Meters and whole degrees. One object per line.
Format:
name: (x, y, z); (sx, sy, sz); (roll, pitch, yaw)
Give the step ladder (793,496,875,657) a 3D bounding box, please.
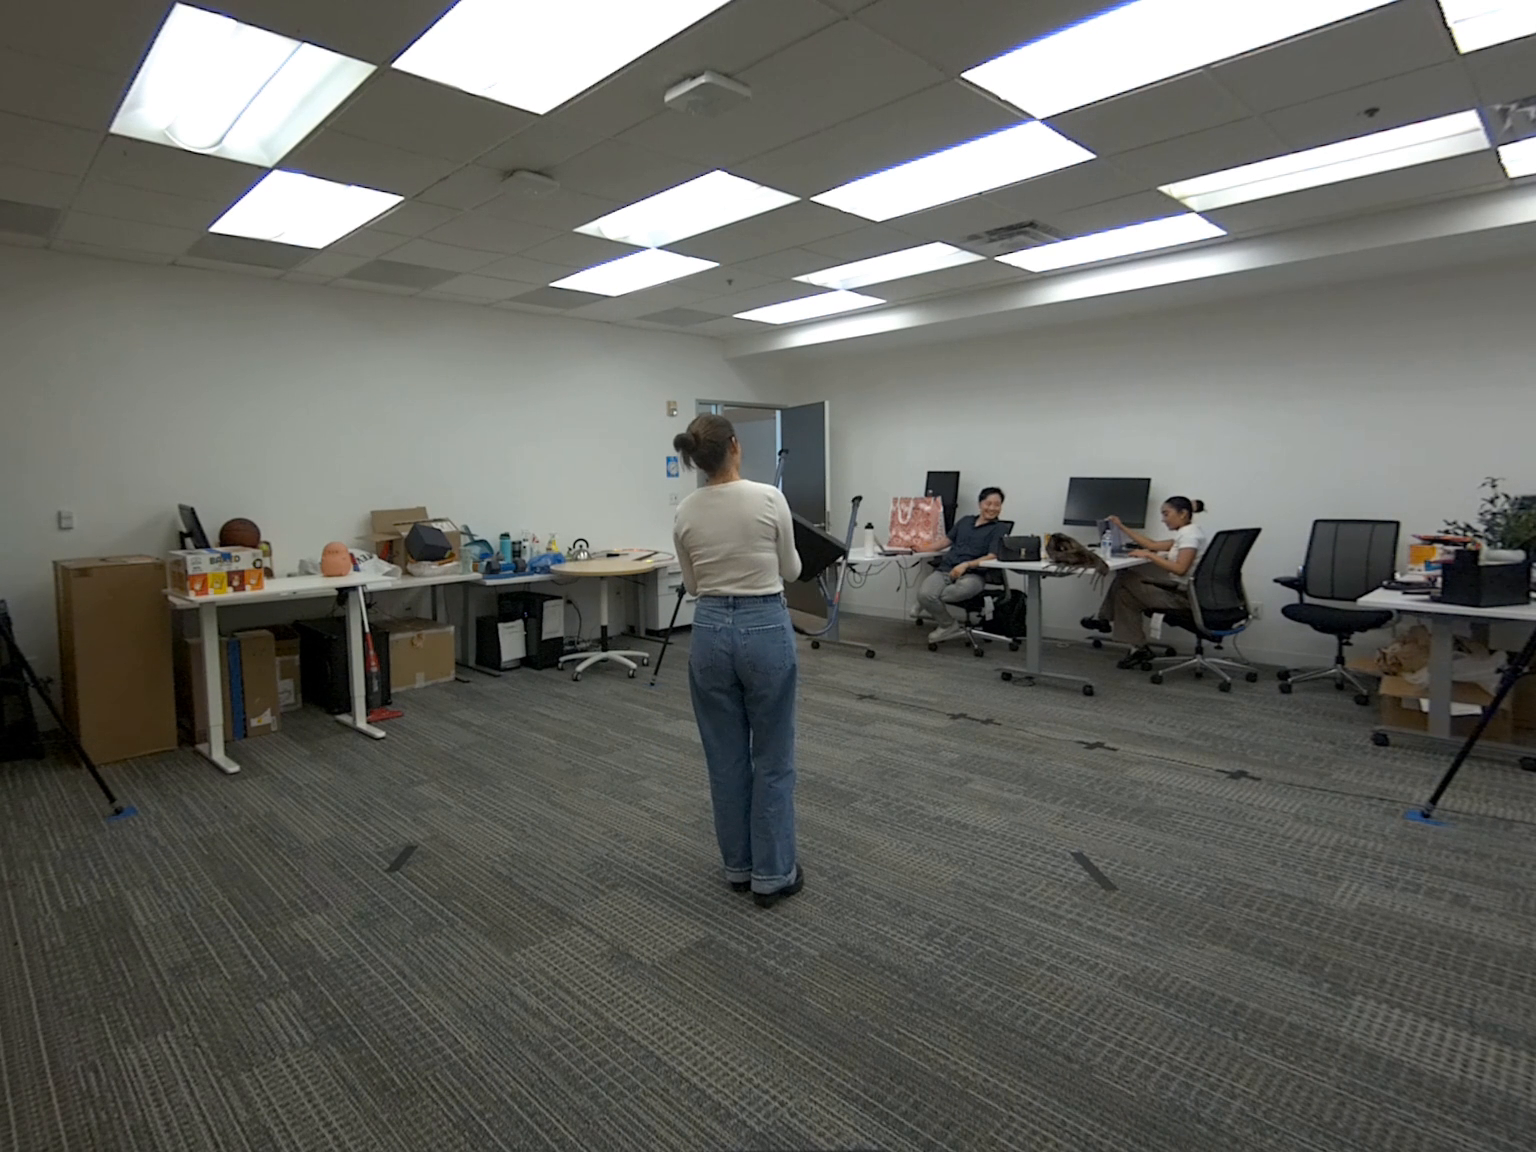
step ladder: (0.122, -0.089, 3.243); (0.417, 0.623, 0.350); (28, -51, -28)
